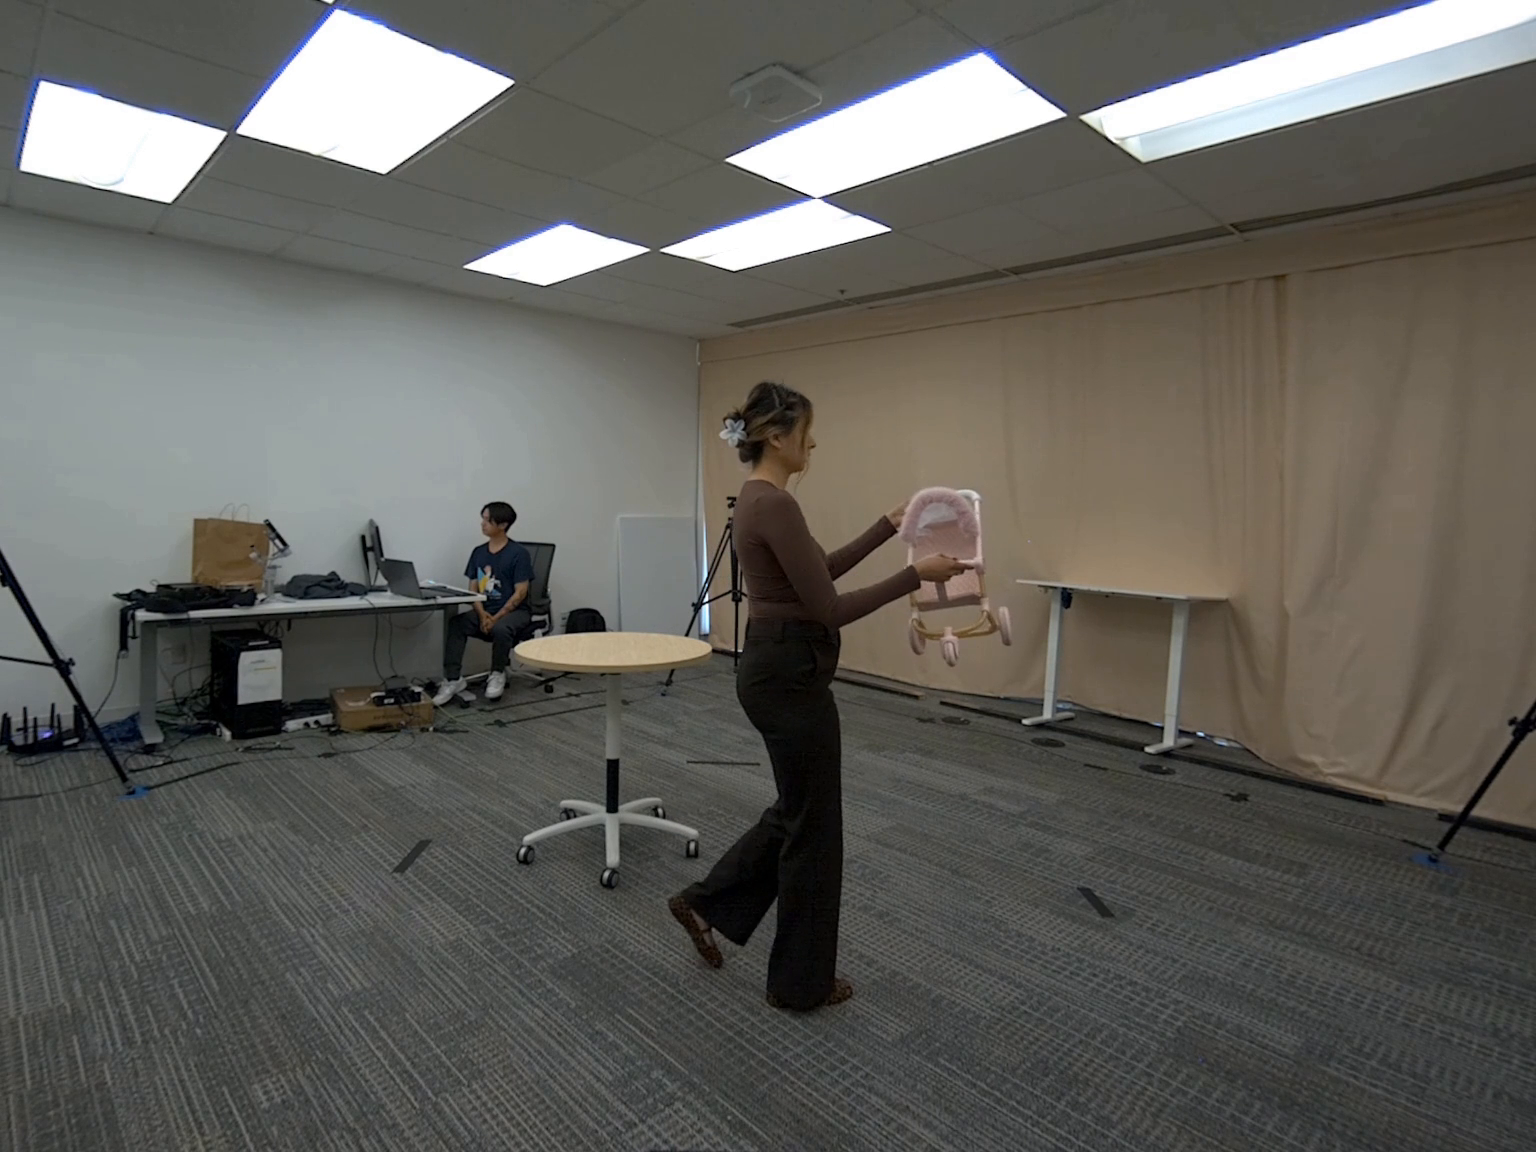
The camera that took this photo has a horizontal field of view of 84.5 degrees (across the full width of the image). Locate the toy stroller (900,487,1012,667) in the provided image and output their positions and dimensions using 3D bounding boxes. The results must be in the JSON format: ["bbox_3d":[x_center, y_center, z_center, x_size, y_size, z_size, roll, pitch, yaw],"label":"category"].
[{"bbox_3d":[0.485,-0.004,2.350,0.286,0.540,0.333,-9,-13,25],"label":"toy stroller"}]
